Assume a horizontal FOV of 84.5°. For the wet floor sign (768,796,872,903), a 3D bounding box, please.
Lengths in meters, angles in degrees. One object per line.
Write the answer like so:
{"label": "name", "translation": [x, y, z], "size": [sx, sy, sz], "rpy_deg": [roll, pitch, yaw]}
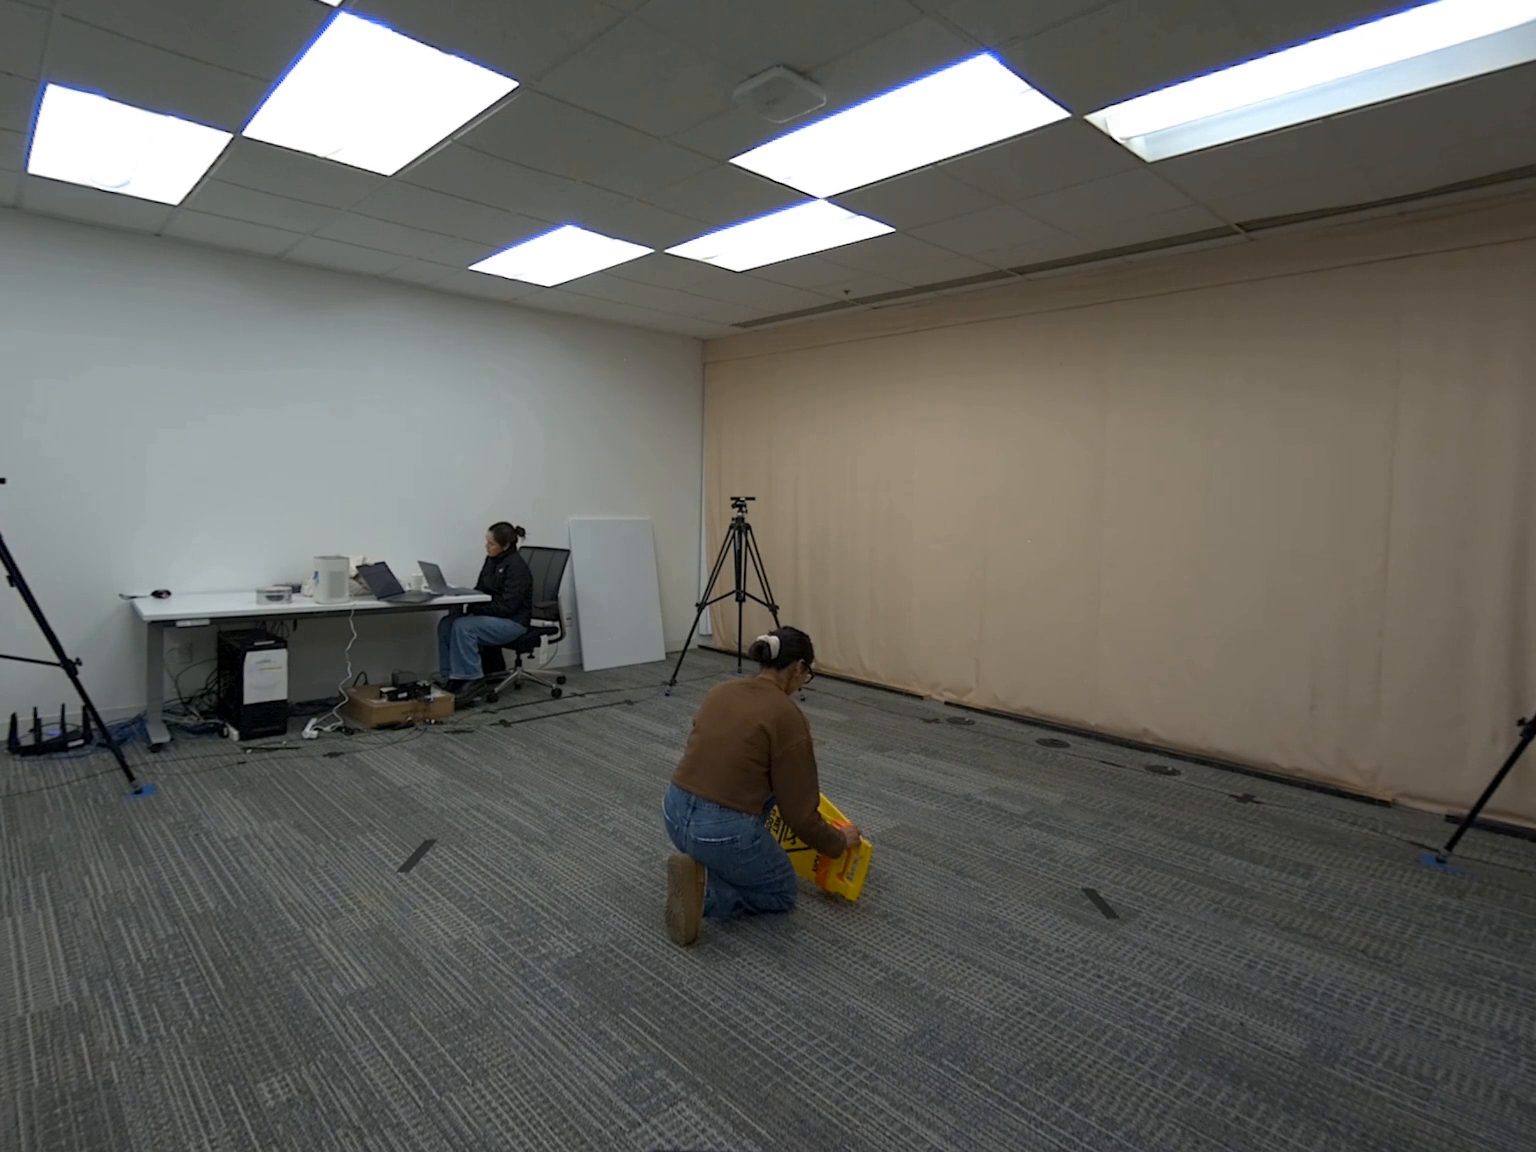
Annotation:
{"label": "wet floor sign", "translation": [0.147, 0.959, 3.122], "size": [0.282, 0.282, 0.663], "rpy_deg": [17, 0, -33]}
